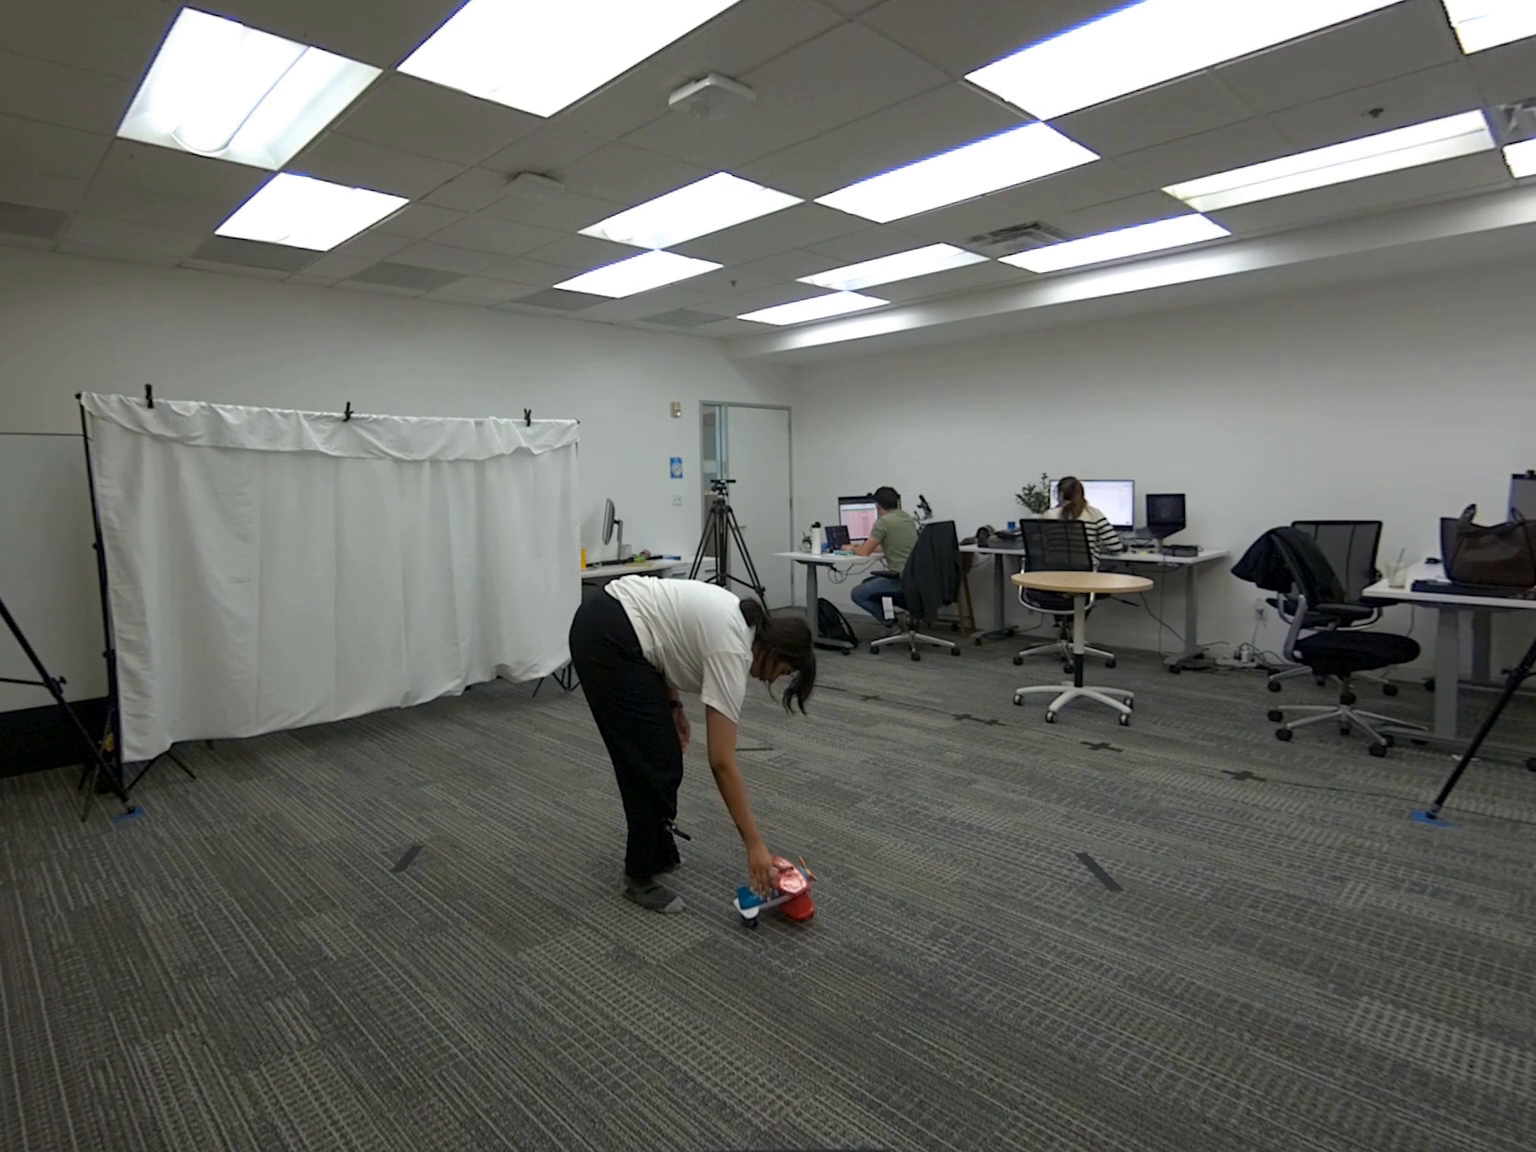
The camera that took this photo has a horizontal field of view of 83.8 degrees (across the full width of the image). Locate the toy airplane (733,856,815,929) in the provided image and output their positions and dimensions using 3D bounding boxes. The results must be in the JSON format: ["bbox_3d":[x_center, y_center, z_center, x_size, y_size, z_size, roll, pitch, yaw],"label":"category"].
[{"bbox_3d":[0.038,1.018,2.699,0.258,0.156,0.252,4,6,37],"label":"toy airplane"}]
